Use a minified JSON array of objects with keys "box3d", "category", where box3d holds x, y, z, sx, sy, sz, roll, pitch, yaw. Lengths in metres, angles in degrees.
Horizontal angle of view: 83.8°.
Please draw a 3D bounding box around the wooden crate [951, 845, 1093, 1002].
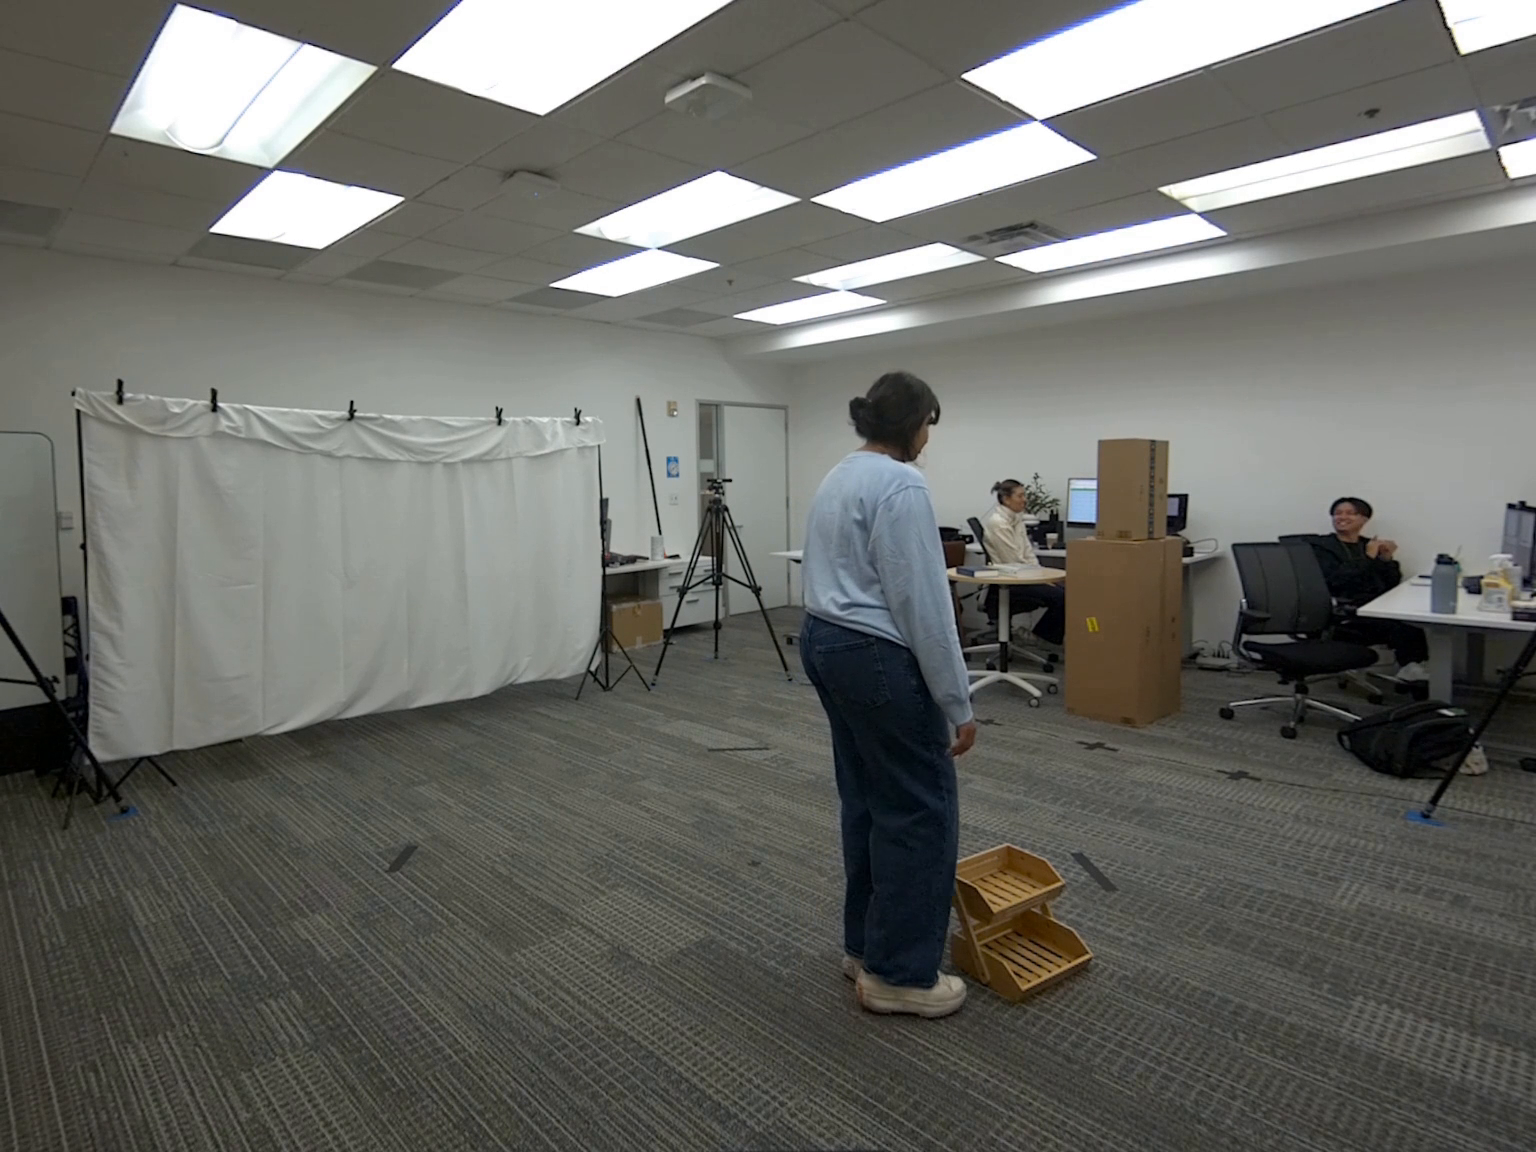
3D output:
[{"box3d":[0.719,0.981,2.429,0.316,0.272,0.311,-5,6,-33],"category":"wooden crate"}]
